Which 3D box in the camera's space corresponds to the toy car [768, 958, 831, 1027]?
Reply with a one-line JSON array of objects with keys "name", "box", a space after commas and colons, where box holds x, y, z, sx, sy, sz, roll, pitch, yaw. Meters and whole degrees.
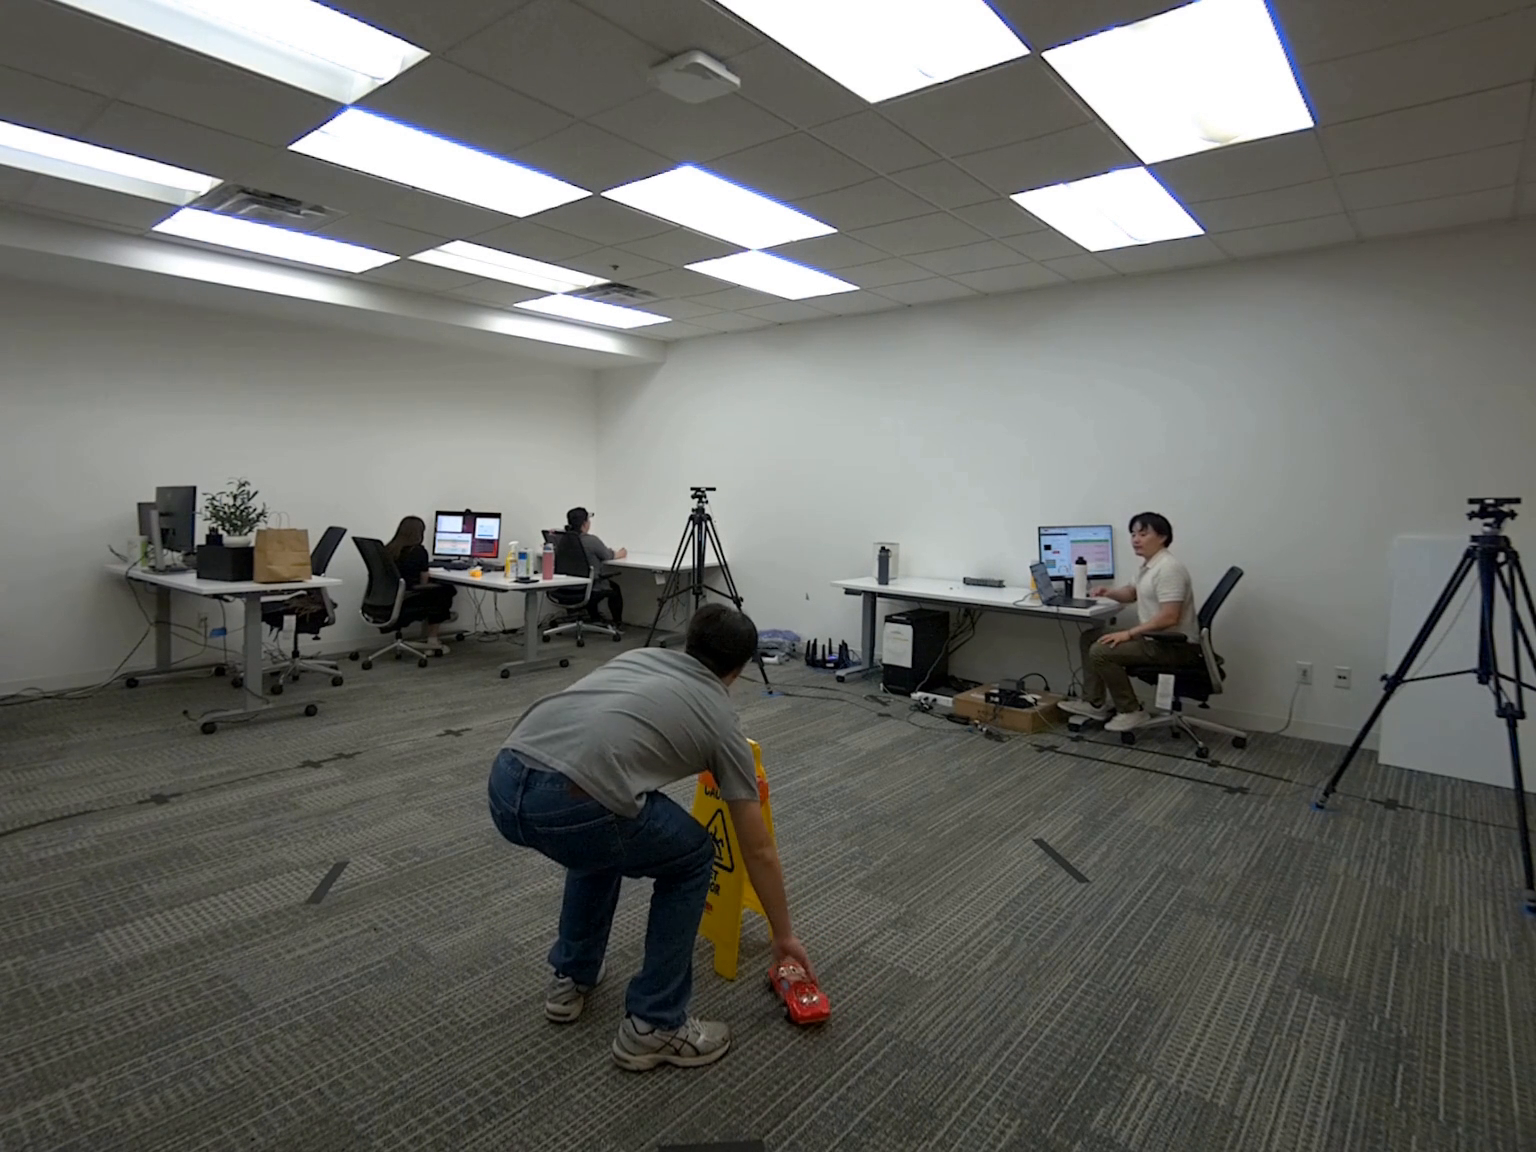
[{"name": "toy car", "box": [0.076, 1.129, 2.278, 0.128, 0.084, 0.257, -3, -5, -18]}]
